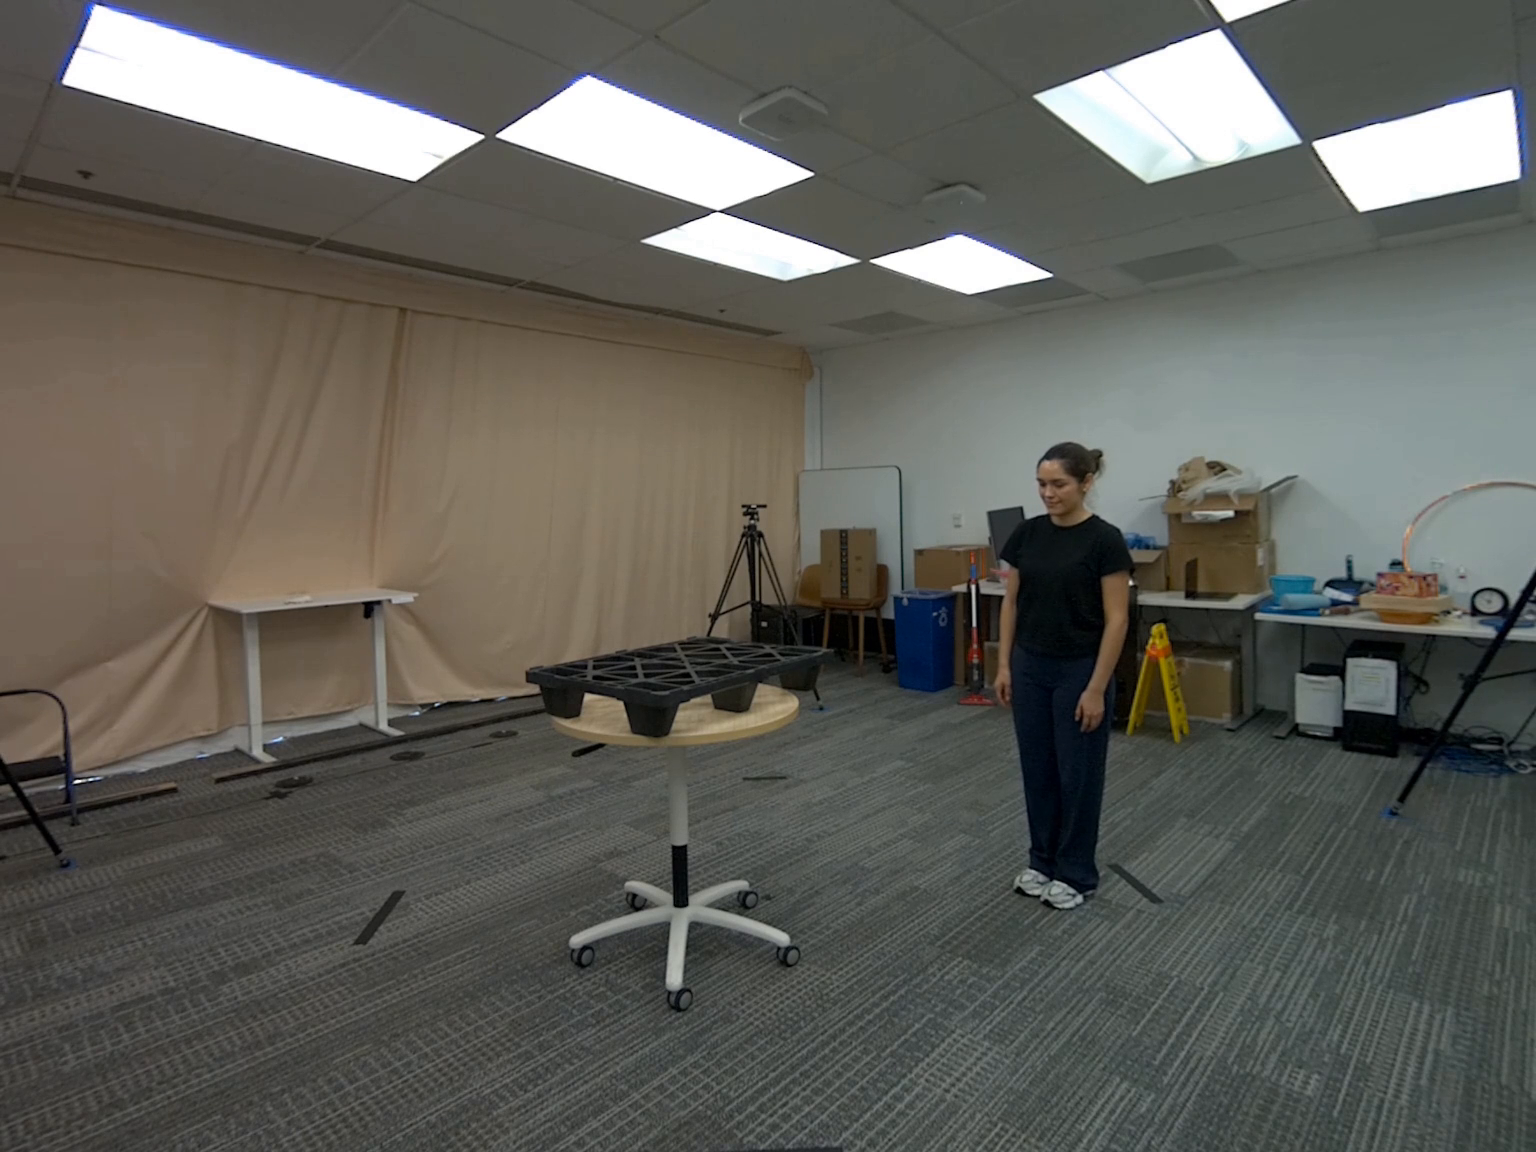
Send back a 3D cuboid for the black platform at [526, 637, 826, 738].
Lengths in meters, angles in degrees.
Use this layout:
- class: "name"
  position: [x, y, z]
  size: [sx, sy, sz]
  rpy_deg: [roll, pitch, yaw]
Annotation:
- class: "black platform"
  position: [-0.245, 0.333, 2.640]
  size: [0.625, 0.143, 0.781]
  rpy_deg: [2, 5, 40]
